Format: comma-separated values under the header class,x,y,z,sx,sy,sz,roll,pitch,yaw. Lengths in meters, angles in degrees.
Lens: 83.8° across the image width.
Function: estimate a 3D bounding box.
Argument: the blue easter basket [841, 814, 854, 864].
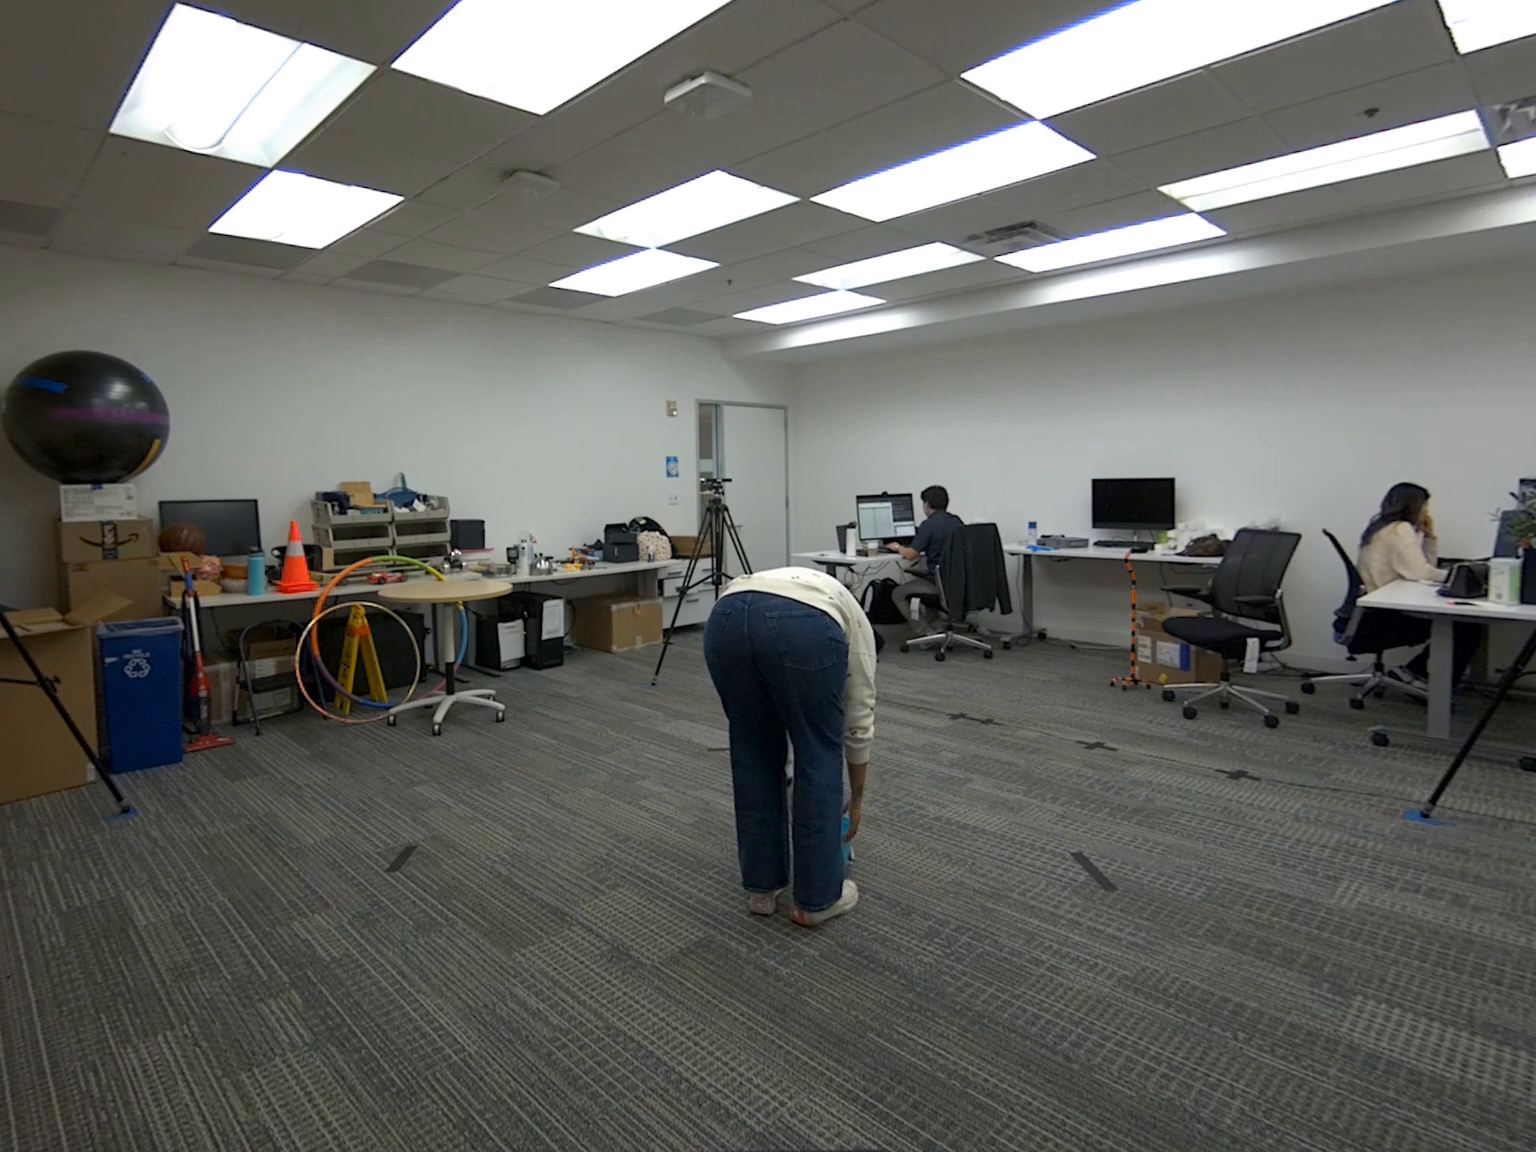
class,x,y,z,sx,sy,sz,roll,pitch,yaw
blue easter basket,0.207,0.954,3.073,0.243,0.155,0.245,0,5,-2
